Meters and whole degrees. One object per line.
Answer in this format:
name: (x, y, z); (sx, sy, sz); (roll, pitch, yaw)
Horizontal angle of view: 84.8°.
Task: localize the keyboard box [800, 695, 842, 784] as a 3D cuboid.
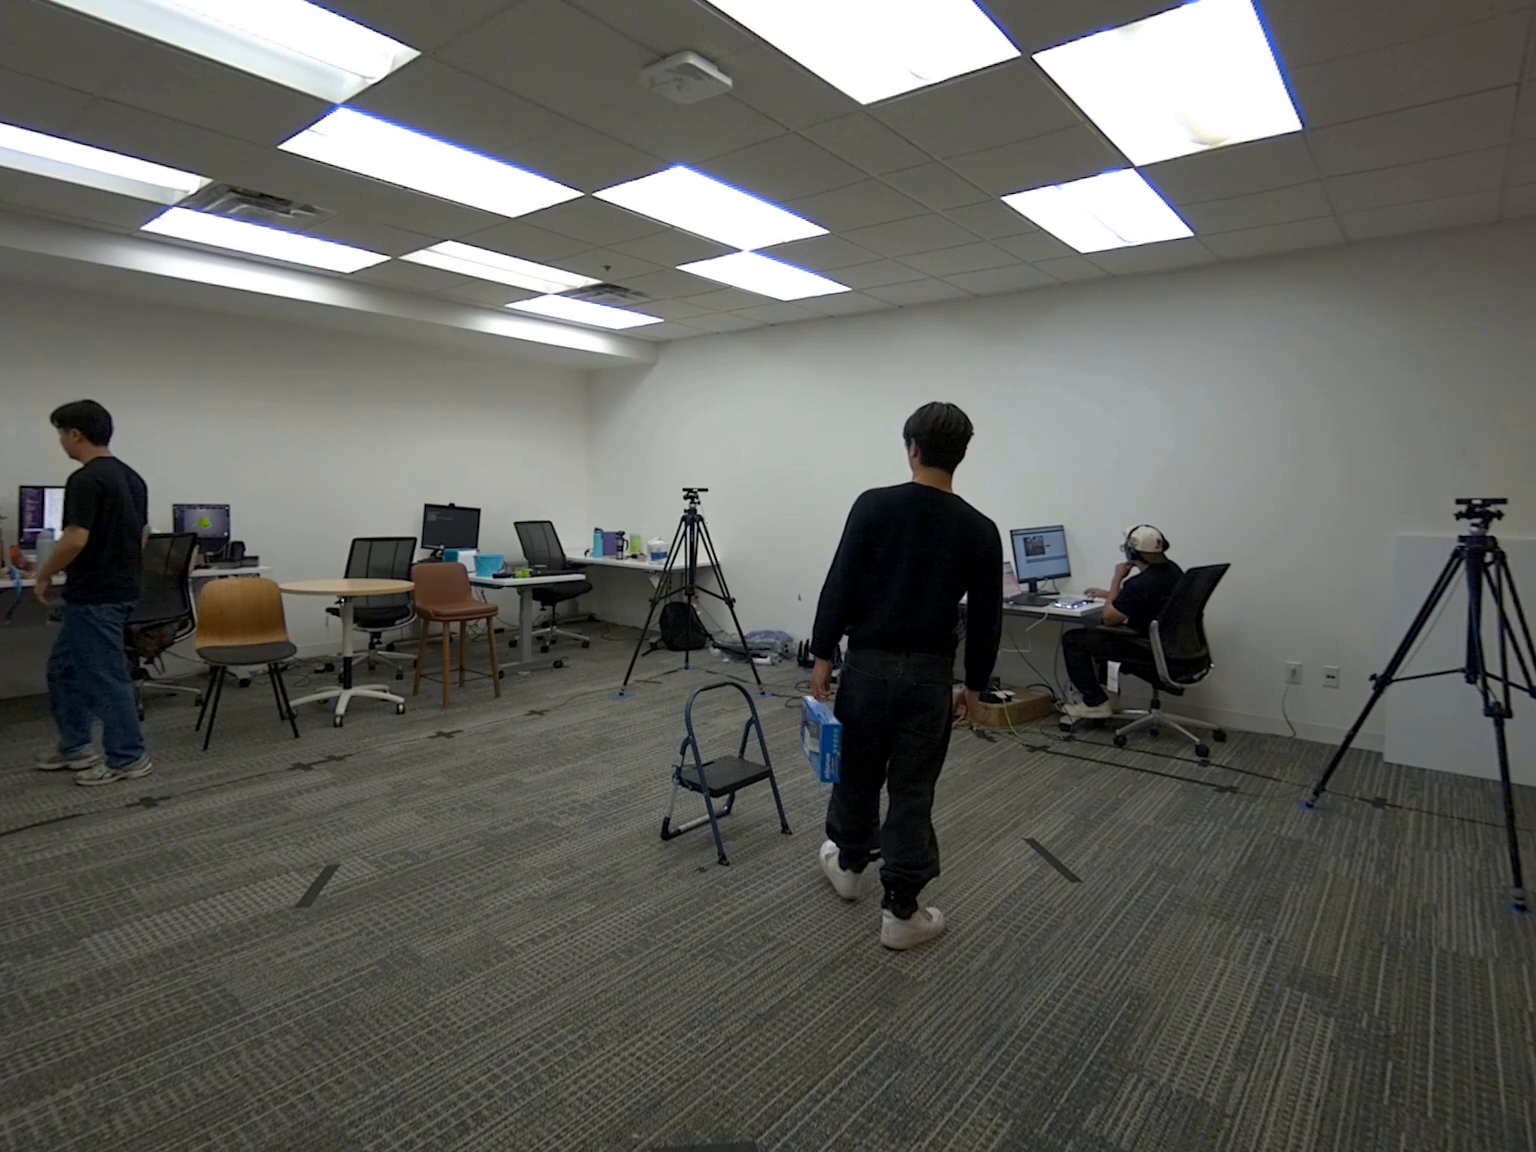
keyboard box: (0.154, 0.502, 2.708); (0.059, 0.176, 0.437); (0, 0, -5)
